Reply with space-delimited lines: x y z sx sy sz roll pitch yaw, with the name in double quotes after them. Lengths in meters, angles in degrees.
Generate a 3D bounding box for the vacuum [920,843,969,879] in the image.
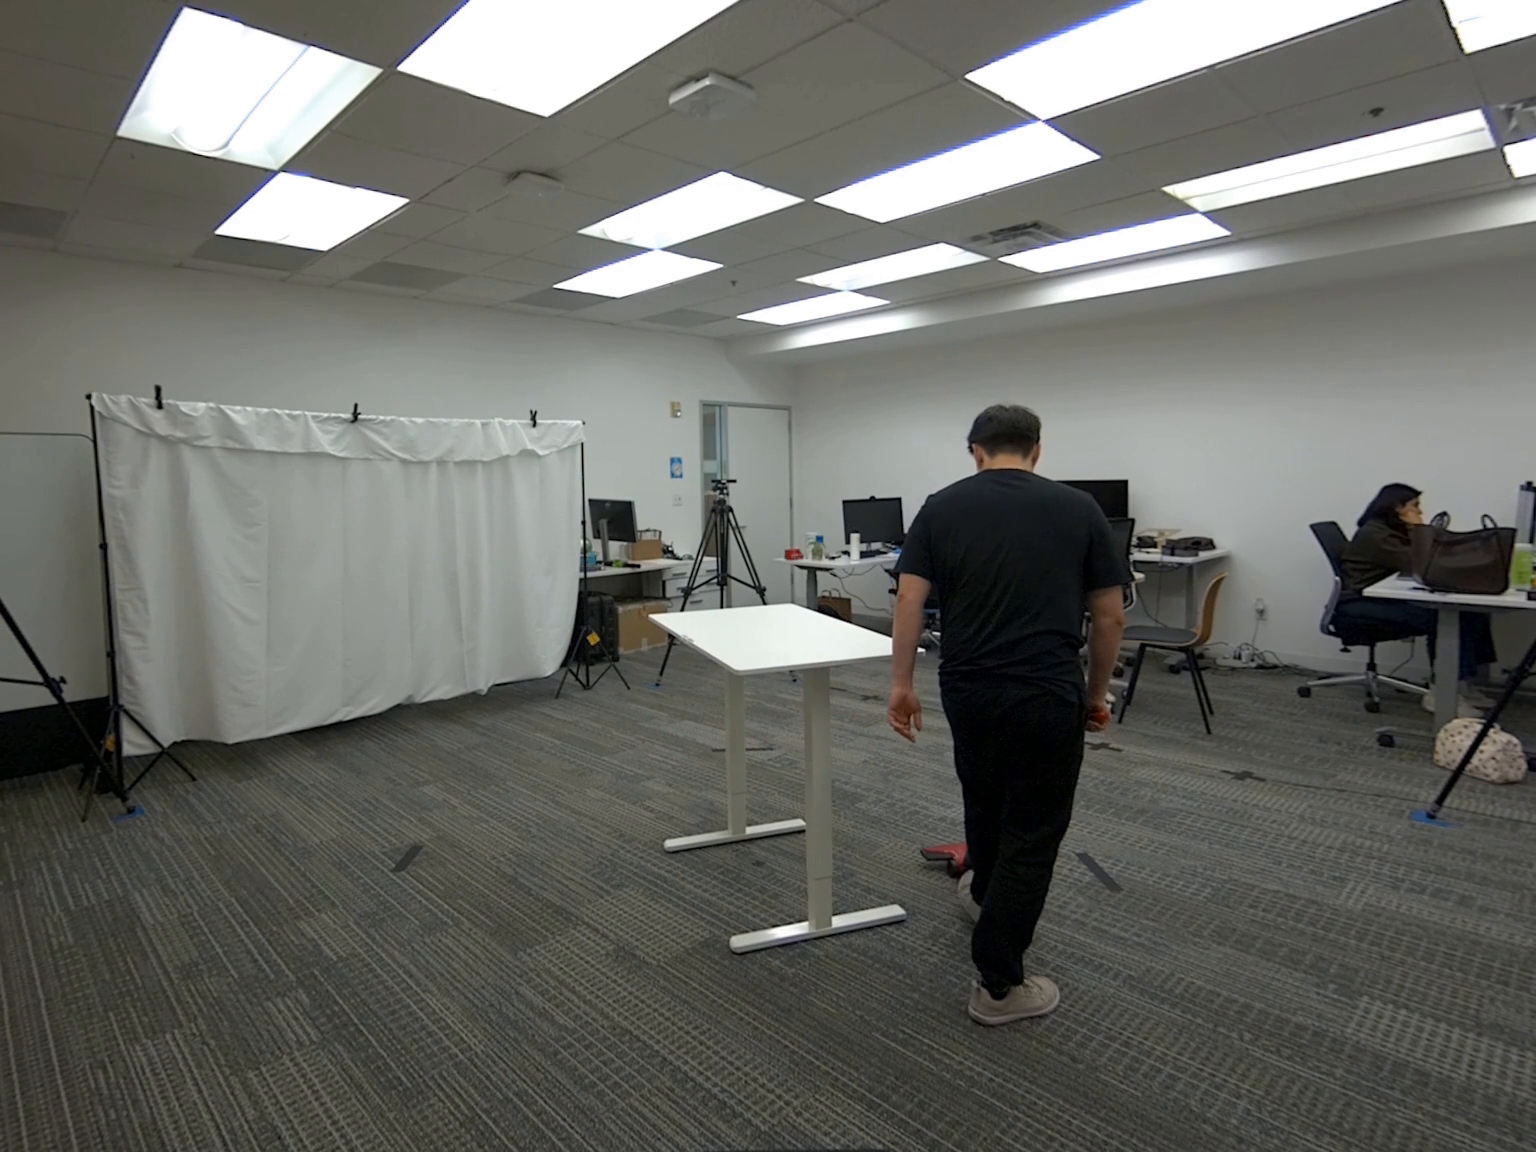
0.798 0.702 2.666 0.249 0.148 1.031 0 -37 -15 "vacuum"
